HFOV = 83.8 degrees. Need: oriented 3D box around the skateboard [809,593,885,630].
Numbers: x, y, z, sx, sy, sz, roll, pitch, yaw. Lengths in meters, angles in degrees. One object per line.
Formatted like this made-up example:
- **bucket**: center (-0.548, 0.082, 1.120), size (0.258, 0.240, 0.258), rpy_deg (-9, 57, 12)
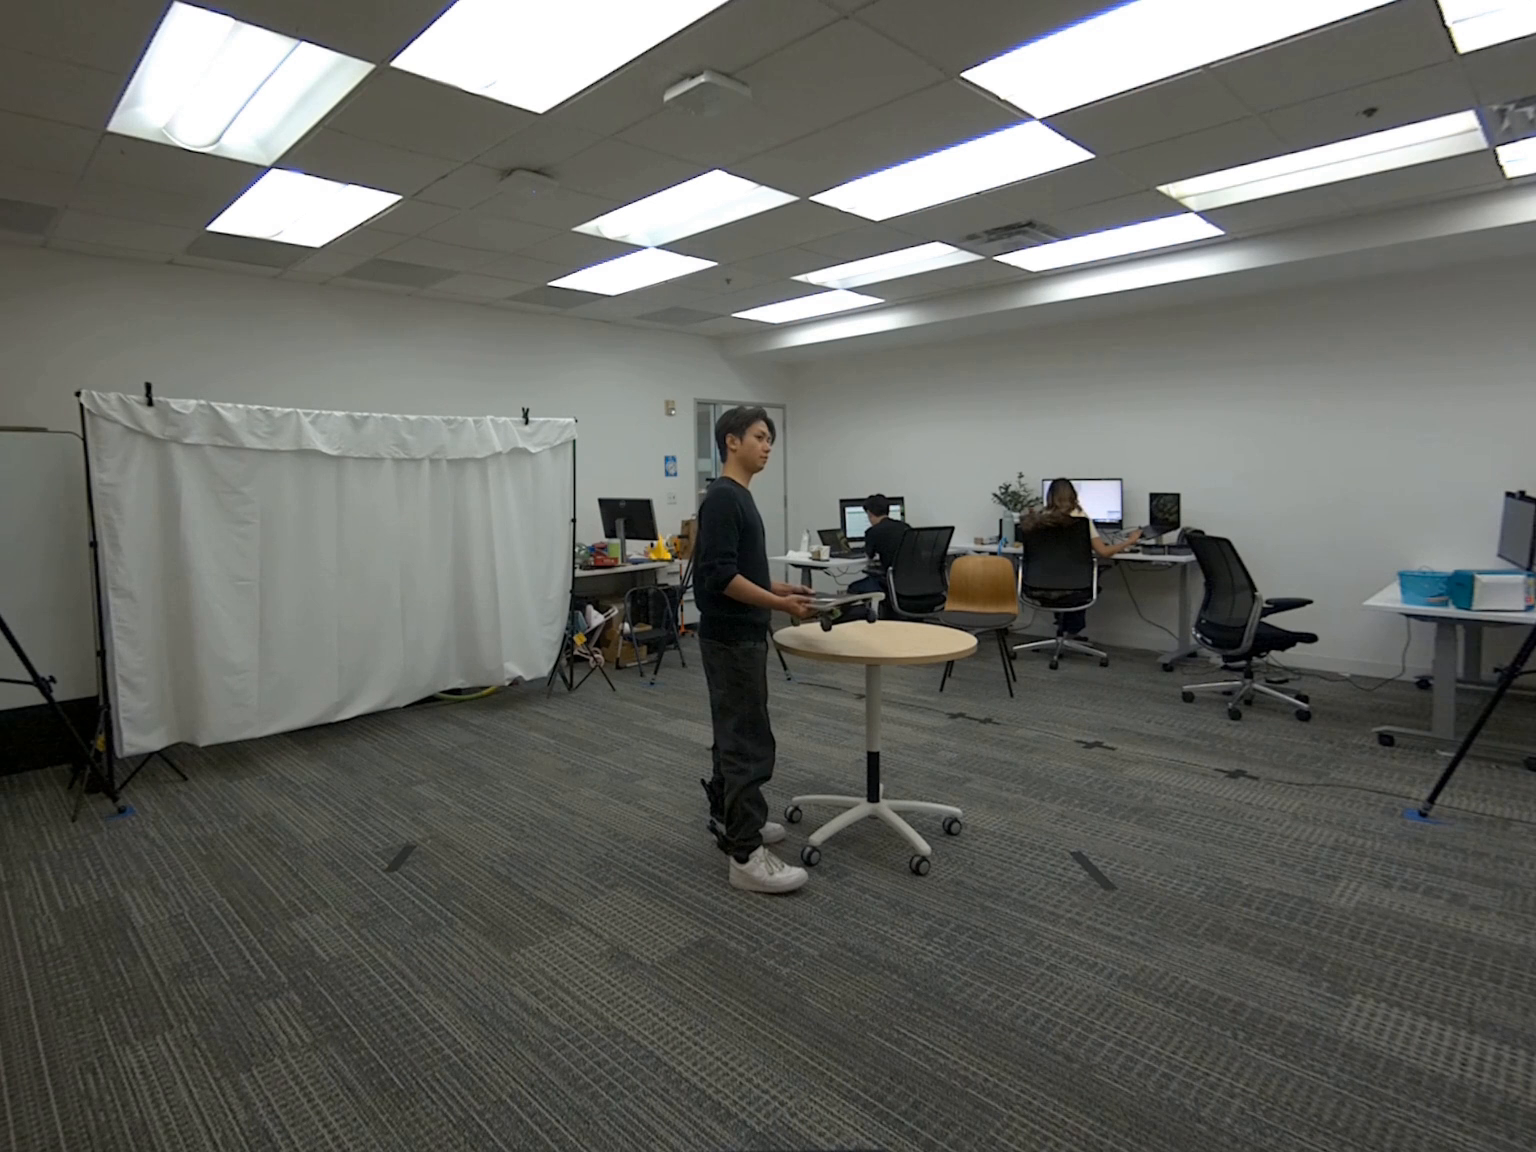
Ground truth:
- **skateboard**: center (0.215, 0.126, 2.960), size (0.191, 0.110, 0.792), rpy_deg (-9, 0, -13)
